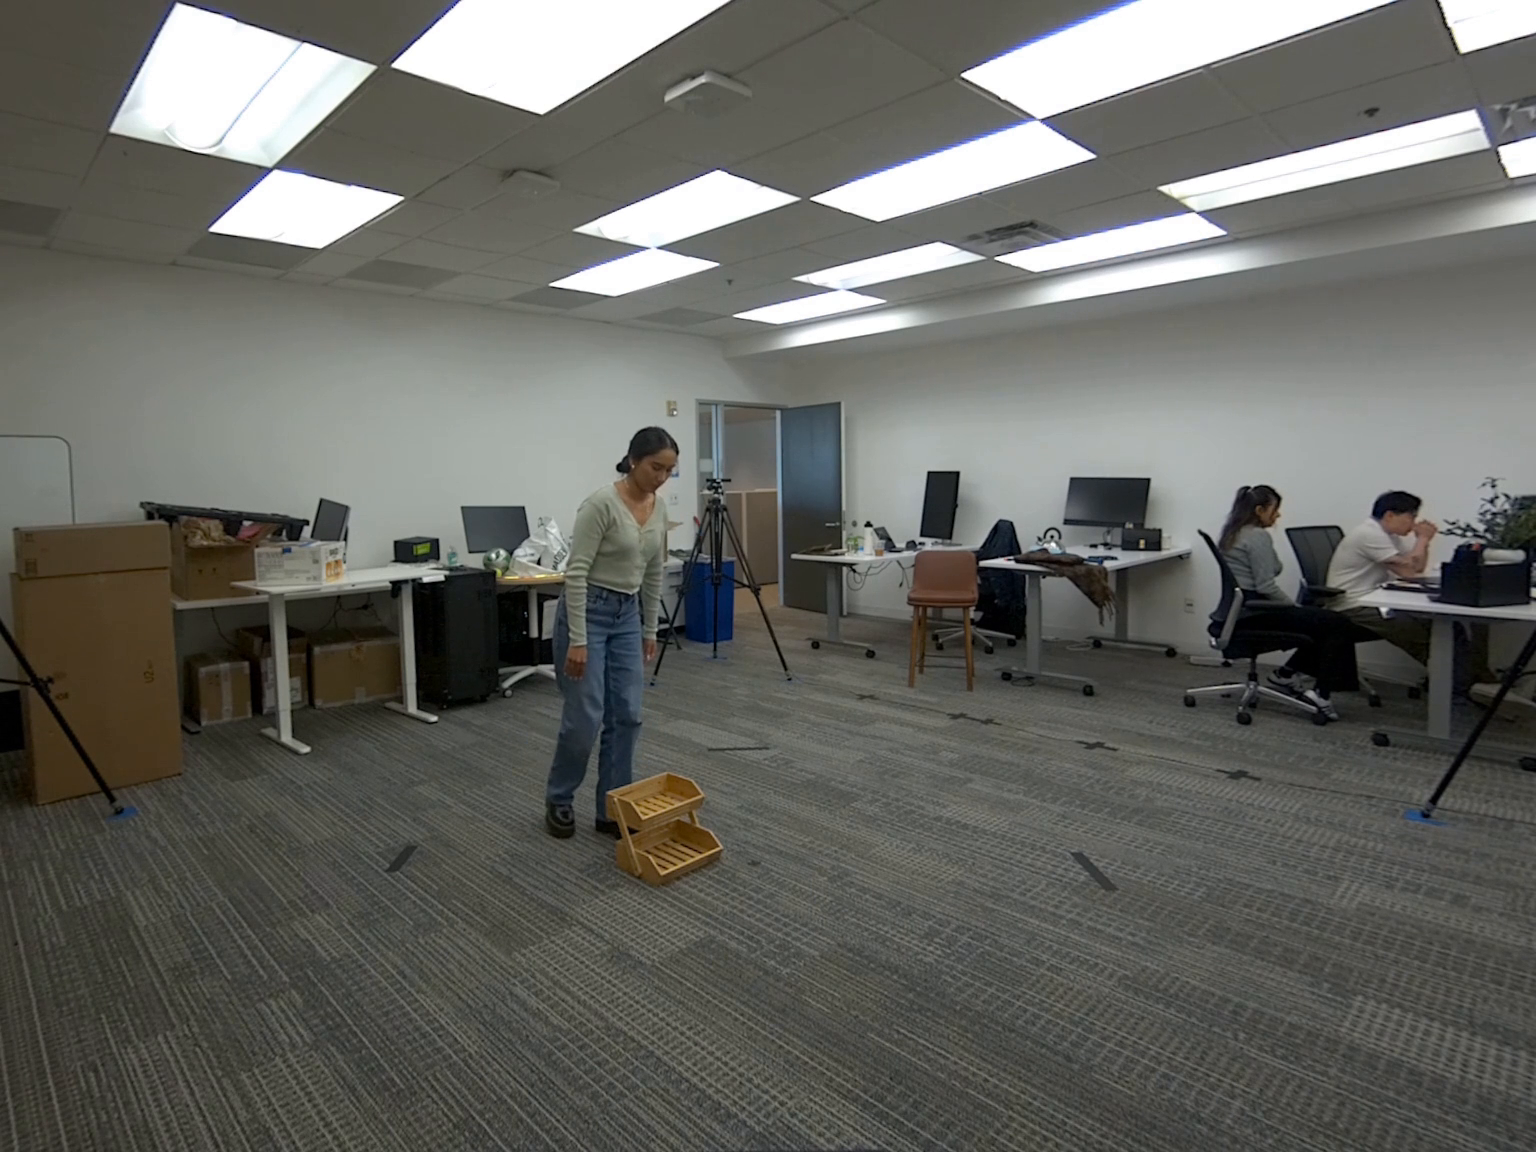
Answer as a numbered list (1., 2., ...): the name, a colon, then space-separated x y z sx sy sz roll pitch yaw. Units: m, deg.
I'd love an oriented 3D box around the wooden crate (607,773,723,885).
1. wooden crate: -0.375 0.912 3.125 0.311 0.272 0.316 4 7 43
